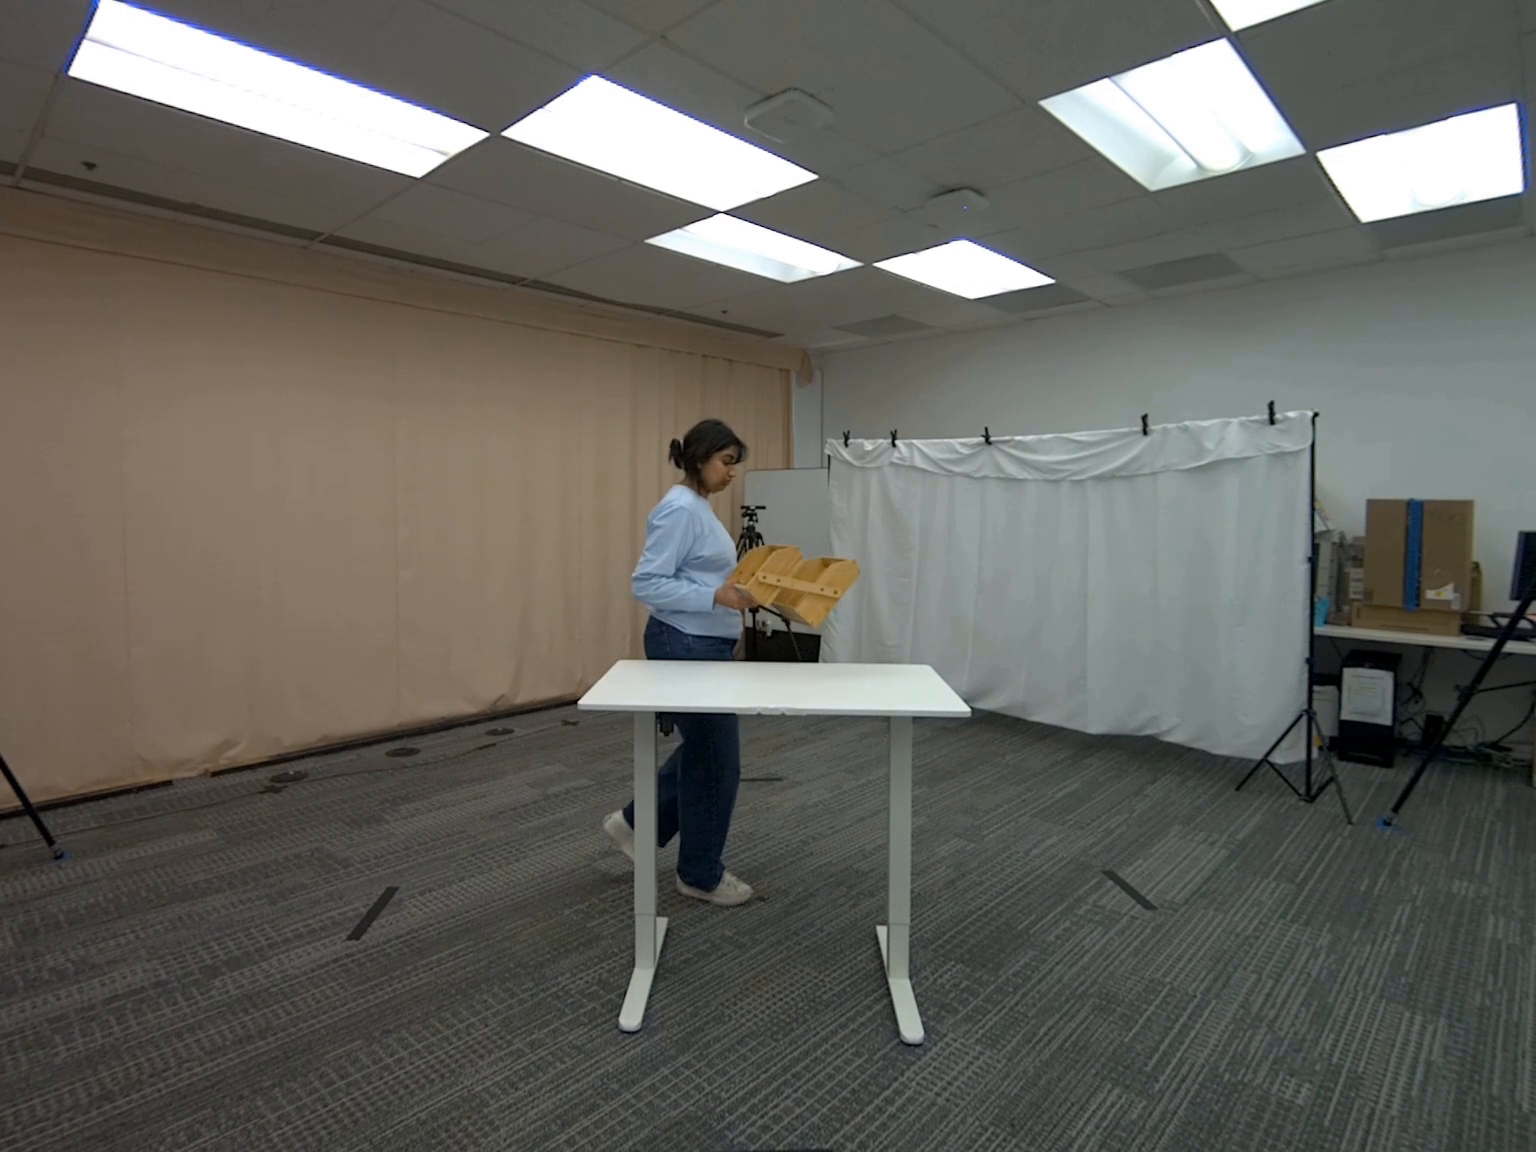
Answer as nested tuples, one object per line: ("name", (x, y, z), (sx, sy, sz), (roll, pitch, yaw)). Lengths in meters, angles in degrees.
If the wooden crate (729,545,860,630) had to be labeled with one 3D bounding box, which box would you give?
("wooden crate", (0.071, 0.000, 2.760), (0.269, 0.301, 0.329), (41, -8, -12))
